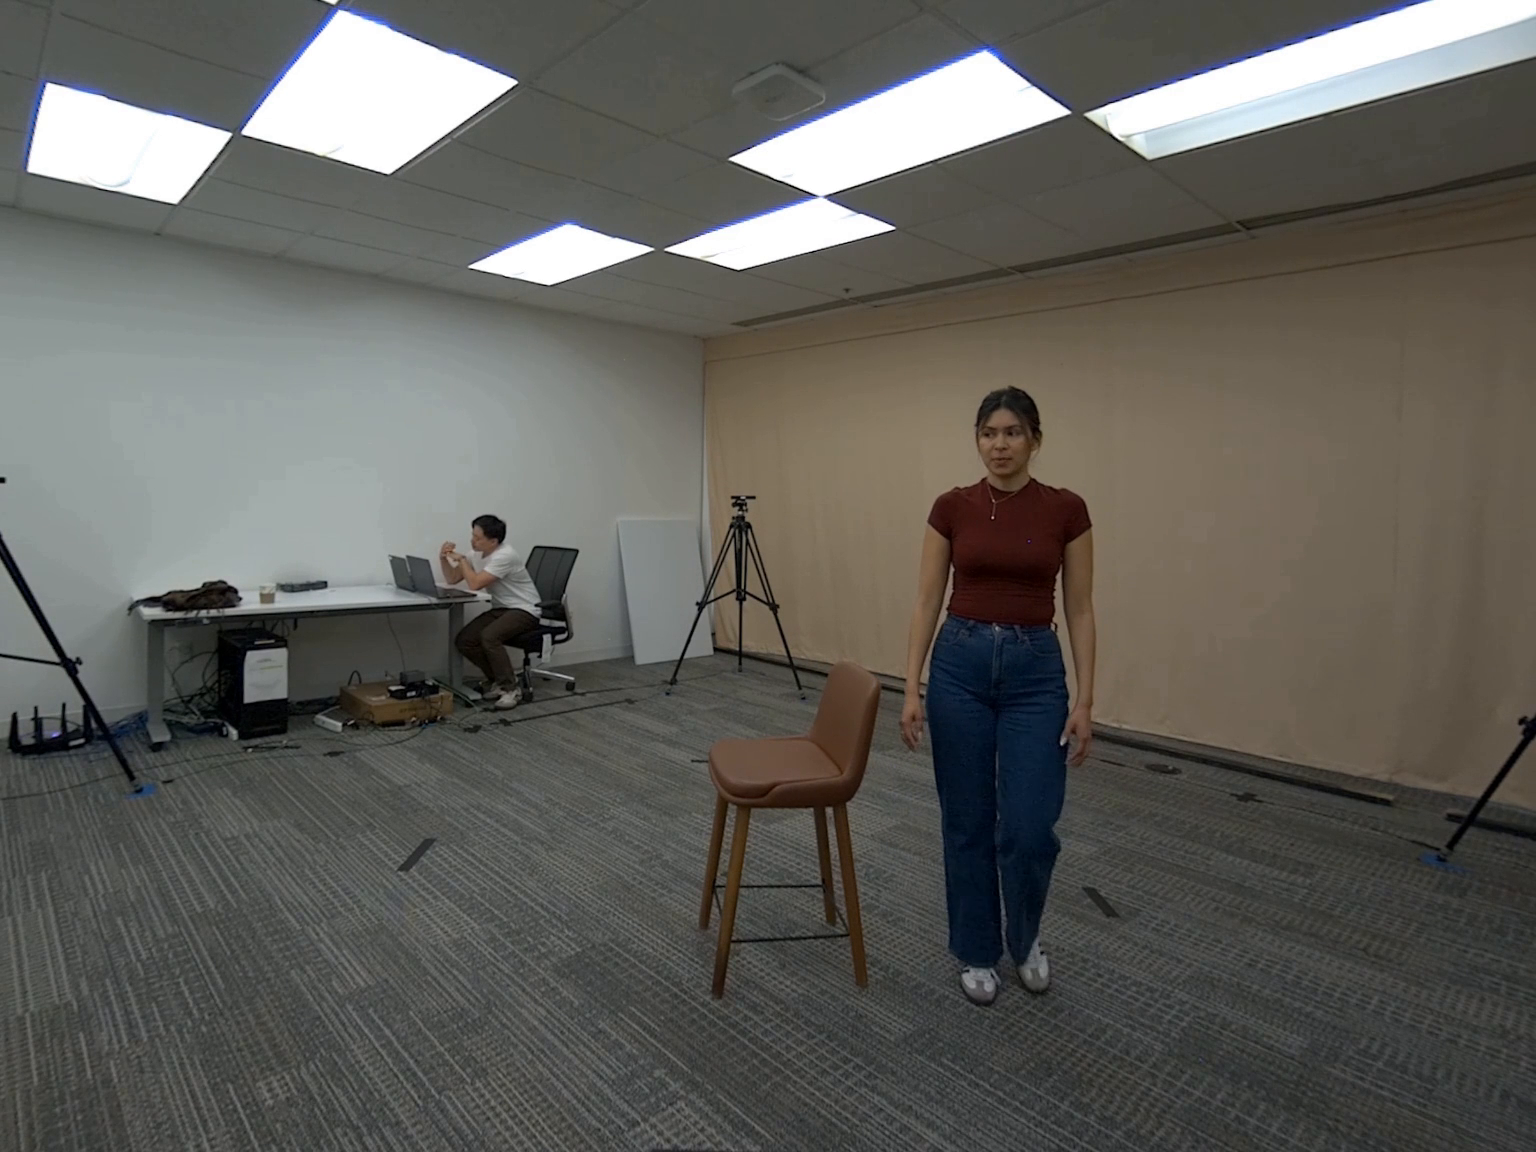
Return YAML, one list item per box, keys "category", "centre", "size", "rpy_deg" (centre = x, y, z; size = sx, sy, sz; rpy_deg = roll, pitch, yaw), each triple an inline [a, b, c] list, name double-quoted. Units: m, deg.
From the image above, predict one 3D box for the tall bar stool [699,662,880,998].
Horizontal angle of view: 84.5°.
- category: "tall bar stool"
  centre: [0.050, 0.728, 2.537]
  size: [0.464, 0.887, 0.461]
  rpy_deg: [2, 4, -10]
